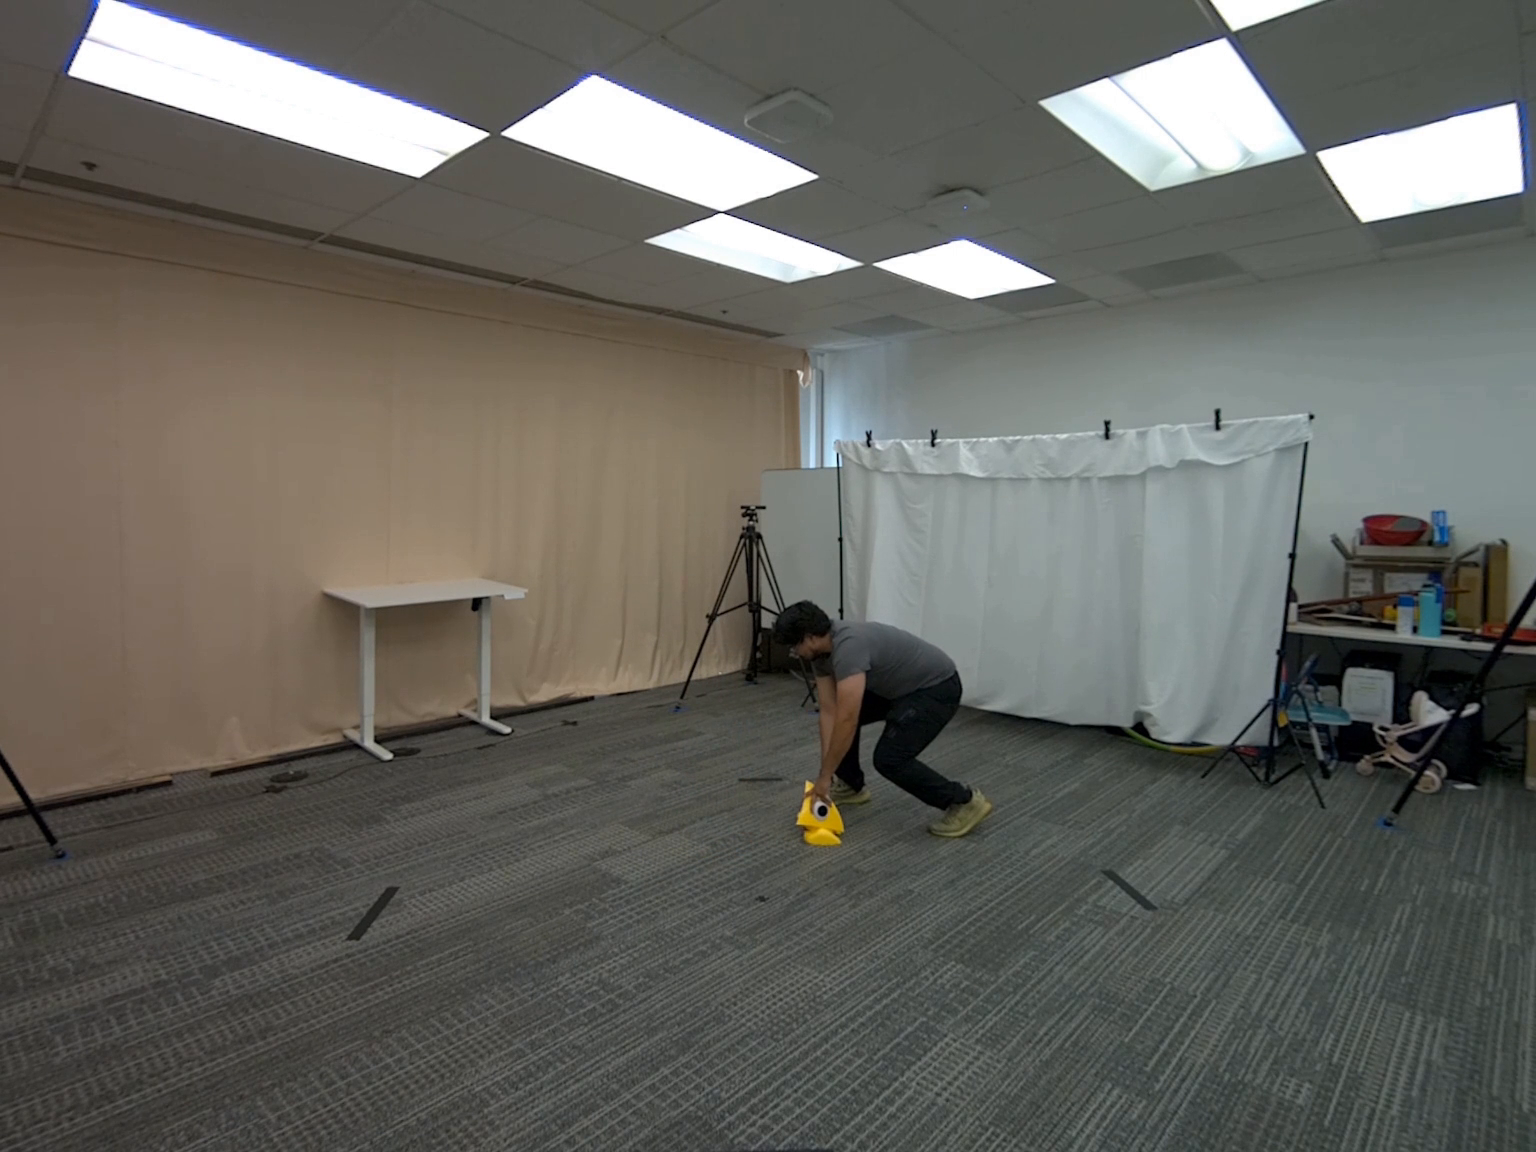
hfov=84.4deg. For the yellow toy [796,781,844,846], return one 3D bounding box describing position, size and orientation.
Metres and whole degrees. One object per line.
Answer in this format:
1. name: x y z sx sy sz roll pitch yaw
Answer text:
1. yellow toy: 0.222 0.981 3.553 0.195 0.230 0.203 0 3 10
